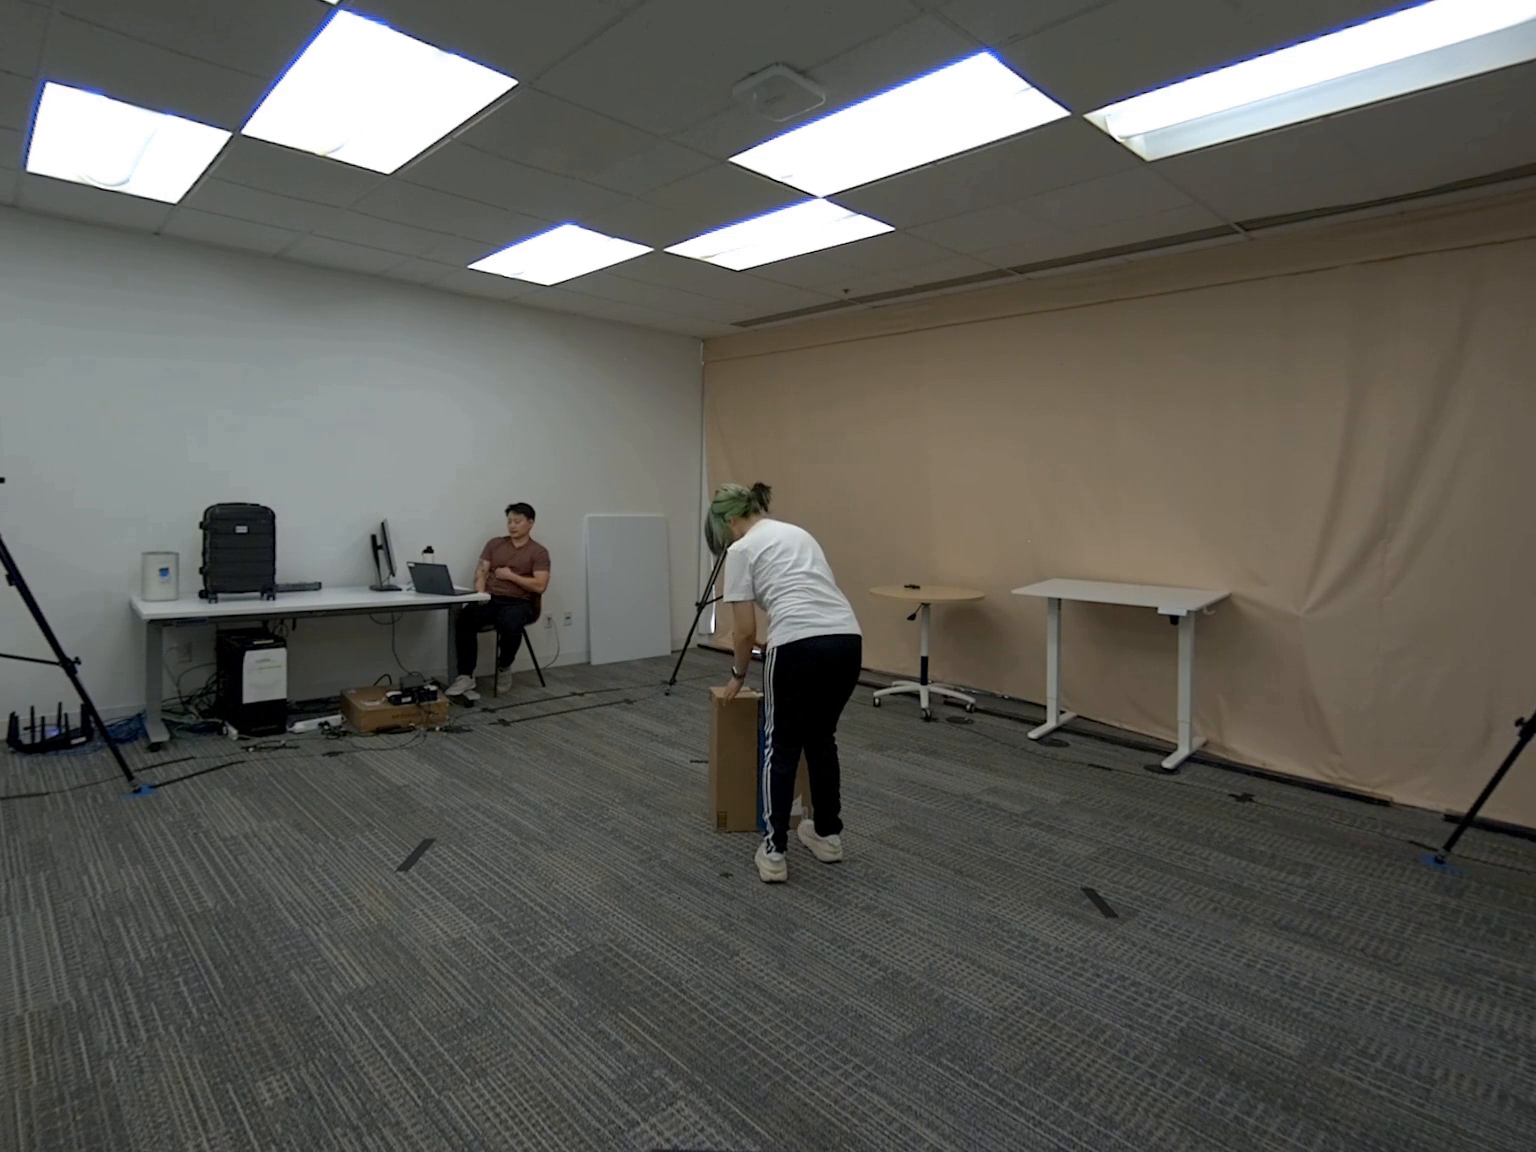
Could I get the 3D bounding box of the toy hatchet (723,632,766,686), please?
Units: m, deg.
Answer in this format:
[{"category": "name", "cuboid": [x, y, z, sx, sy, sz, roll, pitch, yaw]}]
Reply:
[{"category": "toy hatchet", "cuboid": [-0.060, 0.329, 3.564, 0.276, 0.130, 0.029, 45, 26, 23]}]
